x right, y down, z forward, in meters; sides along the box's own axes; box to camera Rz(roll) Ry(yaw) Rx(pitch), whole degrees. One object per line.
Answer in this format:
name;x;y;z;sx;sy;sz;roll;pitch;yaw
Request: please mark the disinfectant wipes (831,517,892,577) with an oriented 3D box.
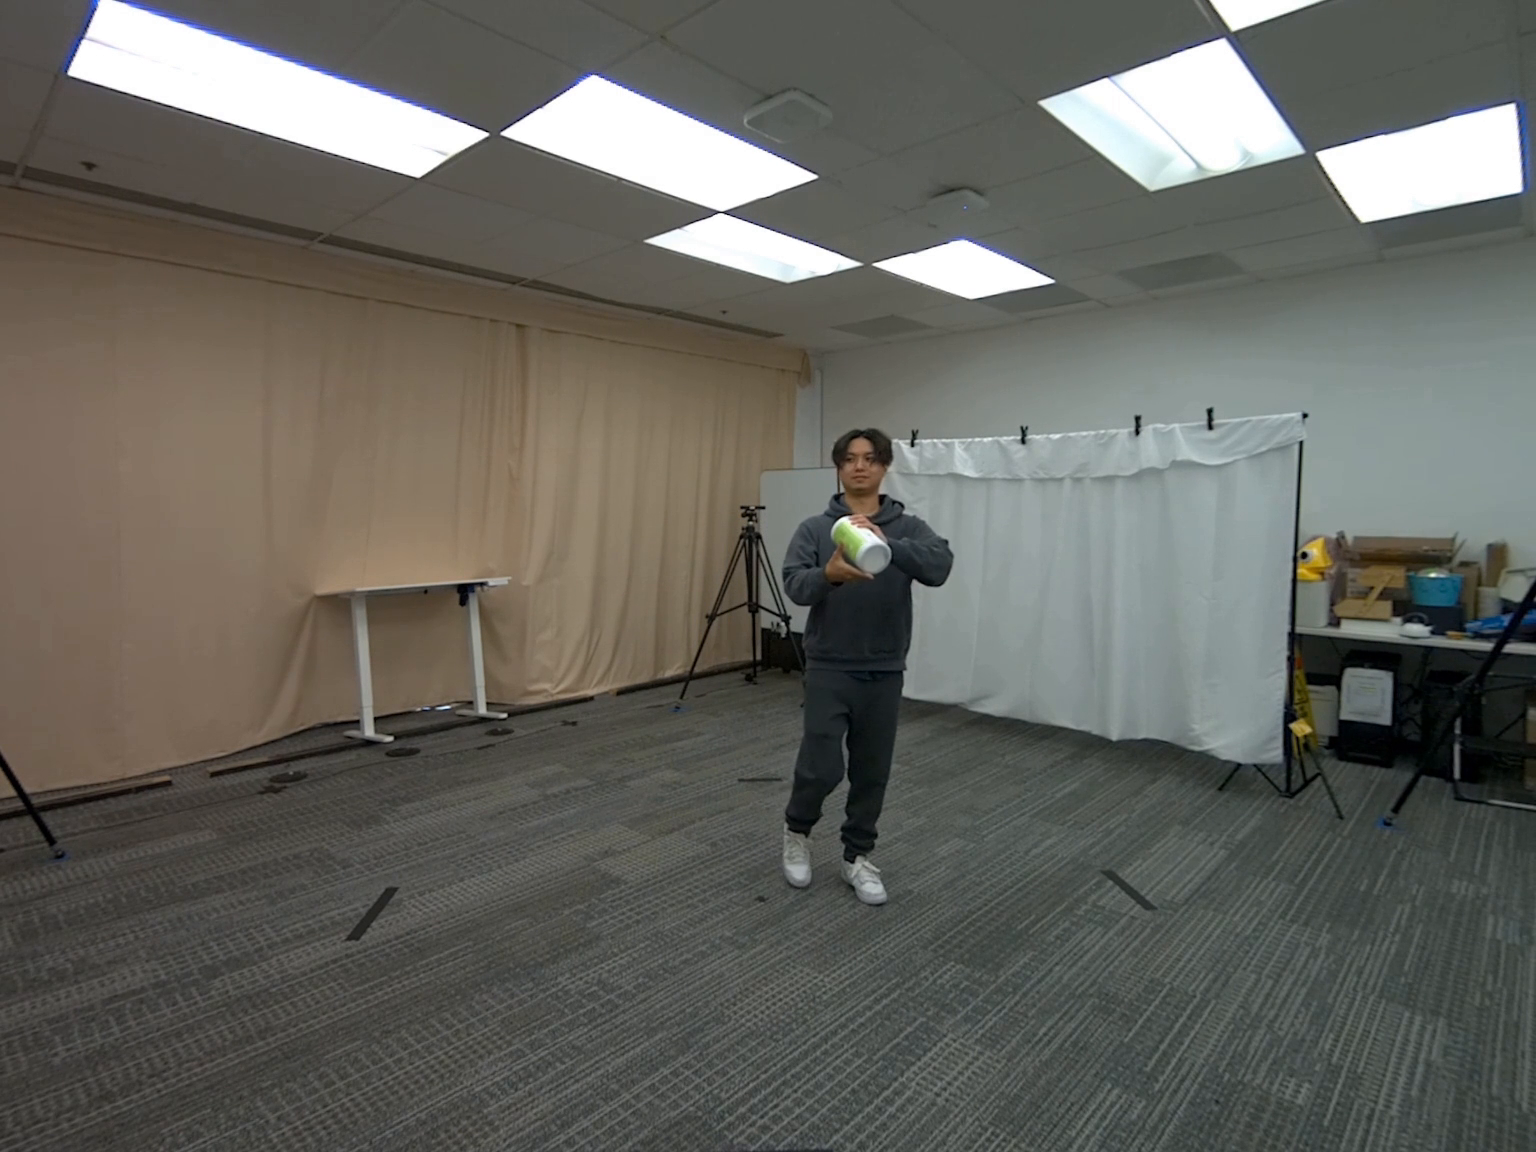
disinfectant wipes;0.284;-0.097;2.644;0.115;0.116;0.224;-2;27;-19
